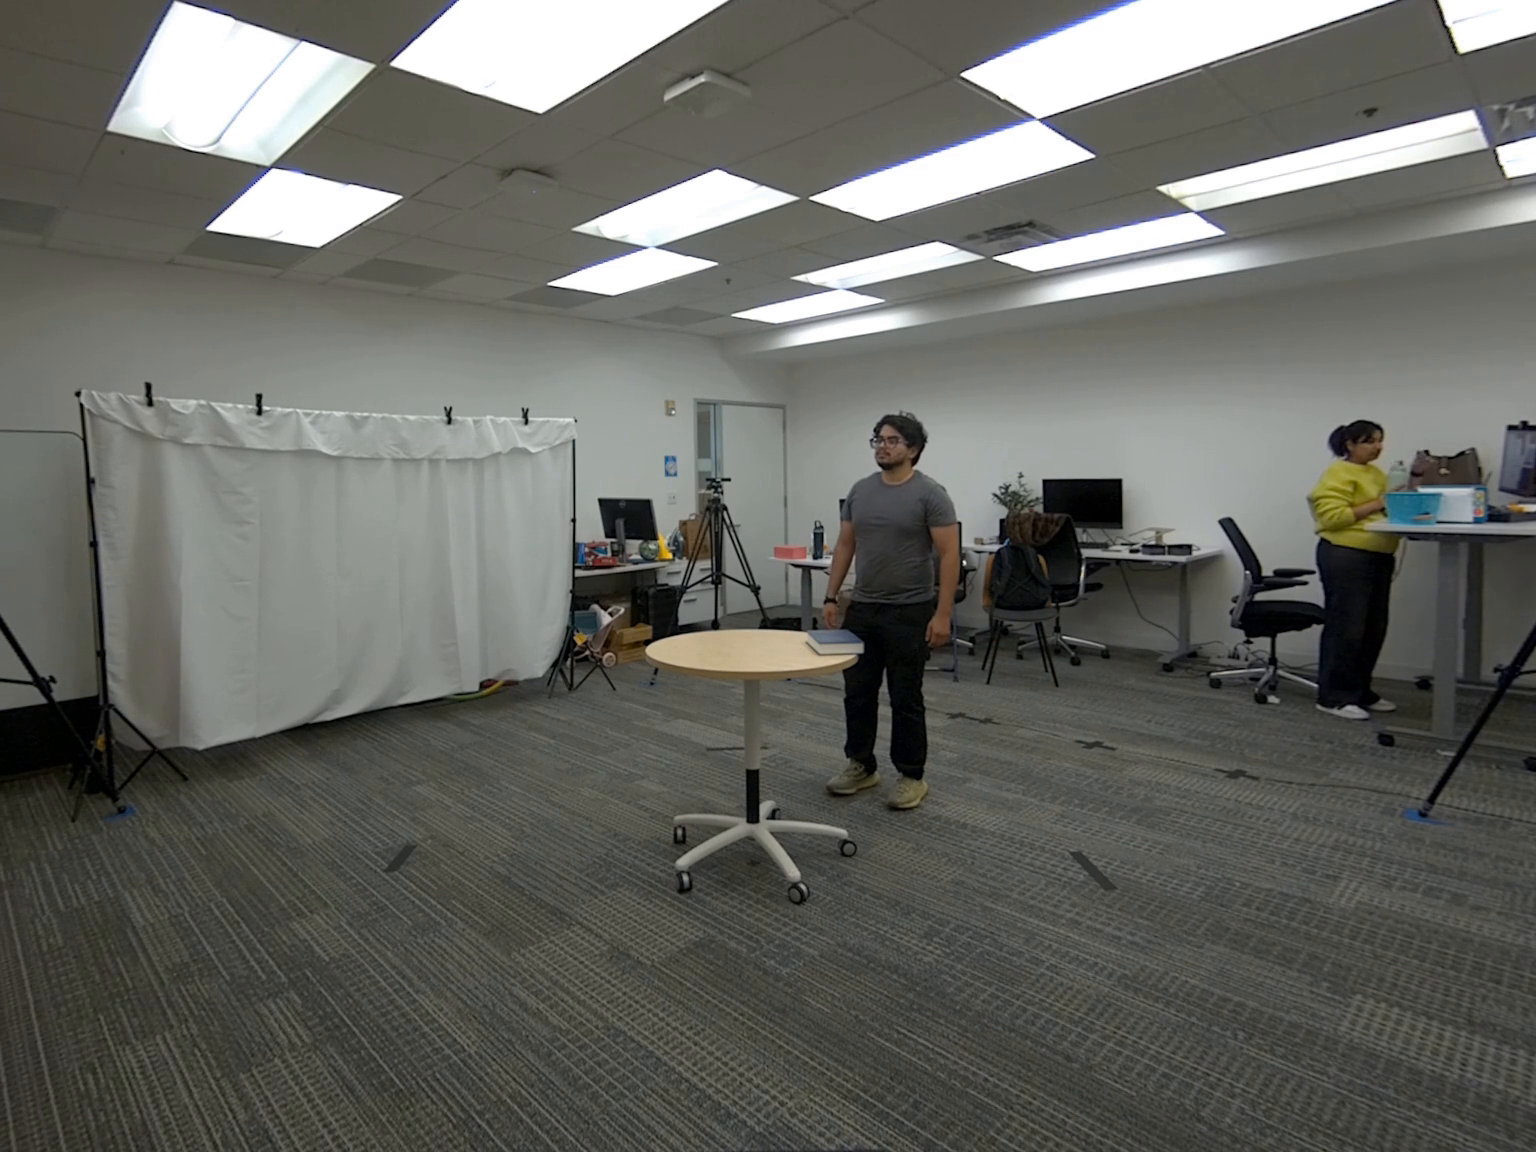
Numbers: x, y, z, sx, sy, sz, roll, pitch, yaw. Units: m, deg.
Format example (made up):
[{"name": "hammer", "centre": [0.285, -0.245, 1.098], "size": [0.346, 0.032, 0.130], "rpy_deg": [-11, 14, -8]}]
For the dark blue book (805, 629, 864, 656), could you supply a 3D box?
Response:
[{"name": "dark blue book", "centre": [0.251, 0.241, 3.078], "size": [0.162, 0.045, 0.248], "rpy_deg": [-2, 7, -8]}]
